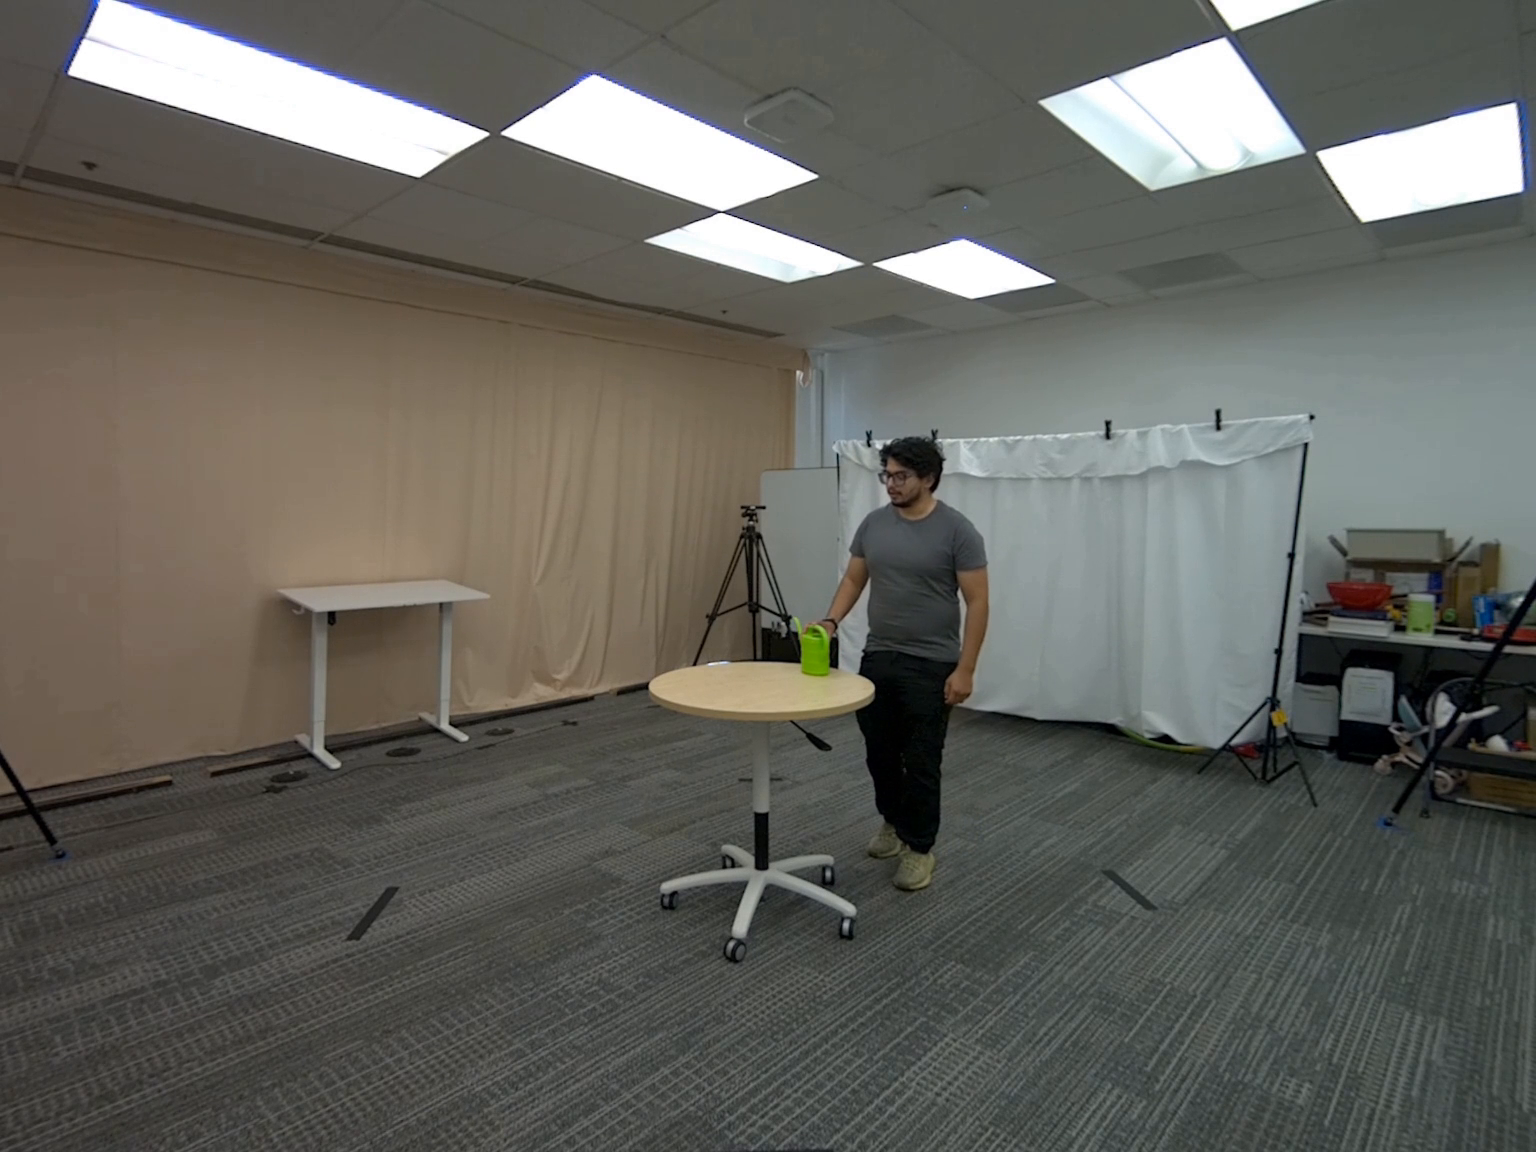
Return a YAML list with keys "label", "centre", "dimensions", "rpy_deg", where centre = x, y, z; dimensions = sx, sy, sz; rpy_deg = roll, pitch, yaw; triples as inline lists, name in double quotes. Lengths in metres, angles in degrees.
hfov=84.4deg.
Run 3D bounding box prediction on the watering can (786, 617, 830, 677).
- label: "watering can"
  centre: [0.167, 0.264, 3.096]
  dimensions: [0.097, 0.175, 0.282]
  rpy_deg: [-4, 11, -9]
